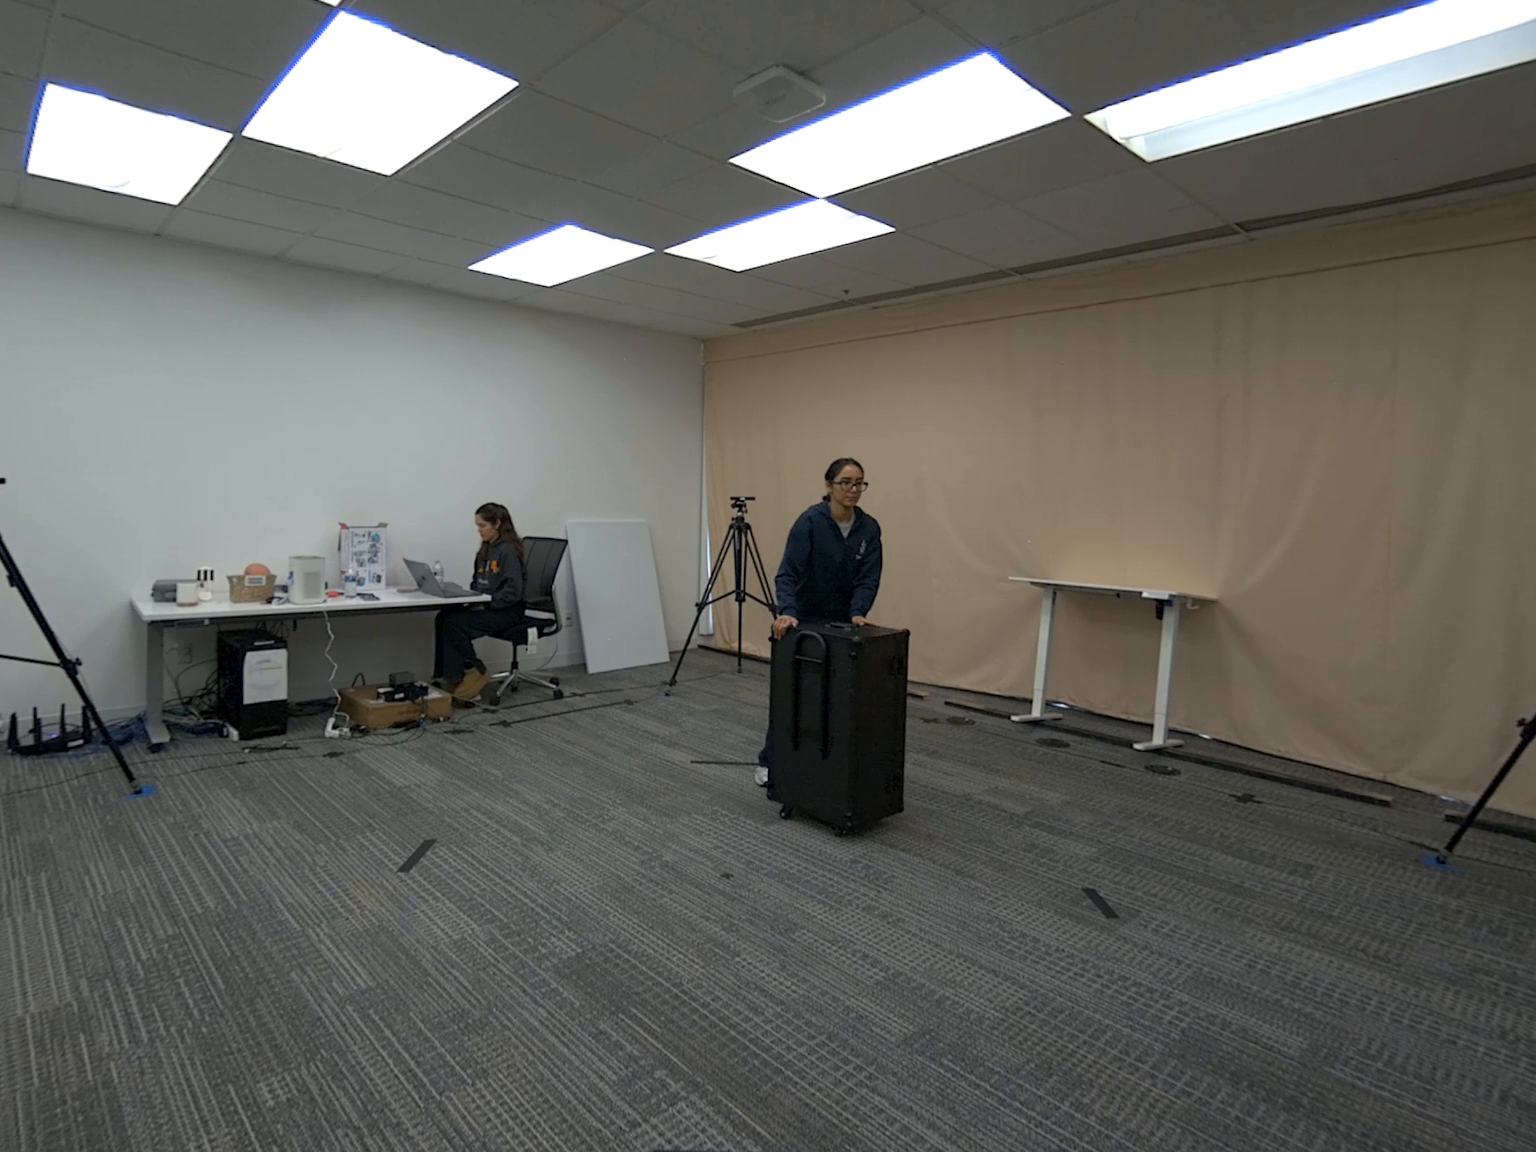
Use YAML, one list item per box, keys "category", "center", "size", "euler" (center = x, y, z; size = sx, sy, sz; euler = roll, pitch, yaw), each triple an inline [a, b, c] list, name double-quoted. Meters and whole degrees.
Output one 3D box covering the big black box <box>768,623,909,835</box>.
- category: "big black box"
  center: [0.287, 0.647, 3.645]
  size: [0.535, 0.858, 0.387]
  euler: [5, 6, 45]
